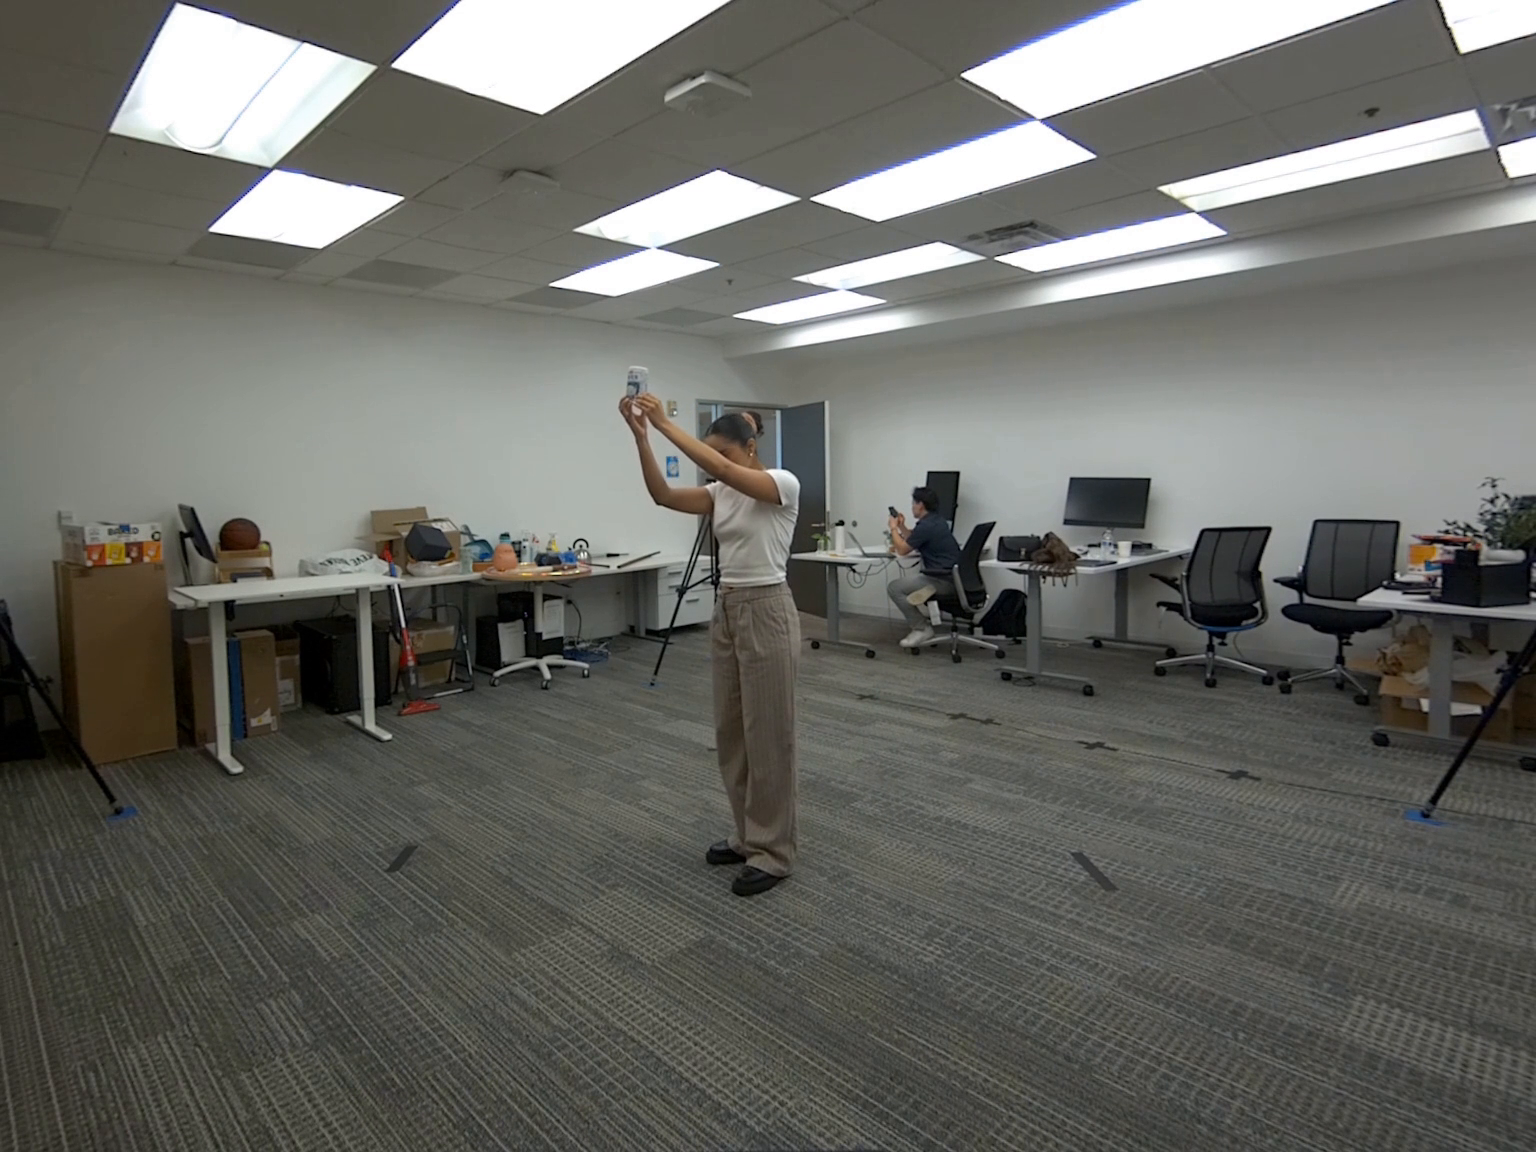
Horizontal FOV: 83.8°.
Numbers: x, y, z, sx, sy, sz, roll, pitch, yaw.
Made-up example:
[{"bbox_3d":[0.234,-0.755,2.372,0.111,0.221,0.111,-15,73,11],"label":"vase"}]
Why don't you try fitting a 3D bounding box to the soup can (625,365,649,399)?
[{"bbox_3d":[-0.438,-0.642,2.873,0.067,0.121,0.067,3,0,-2],"label":"soup can"}]
